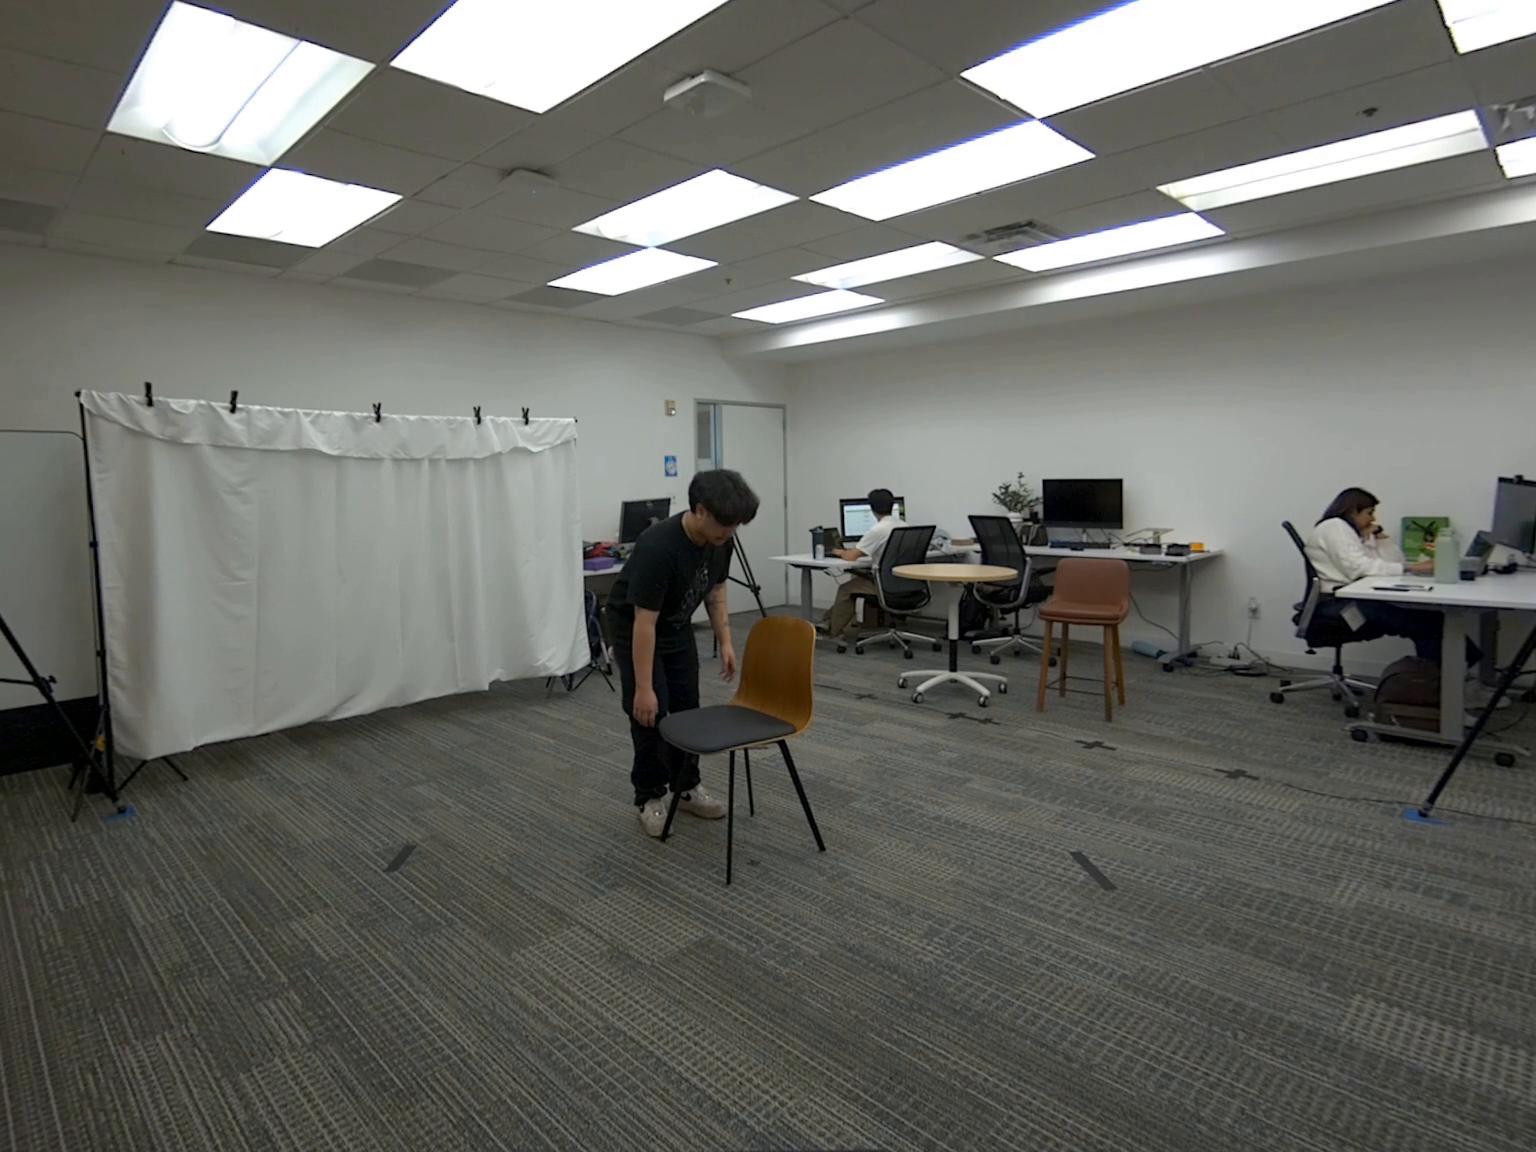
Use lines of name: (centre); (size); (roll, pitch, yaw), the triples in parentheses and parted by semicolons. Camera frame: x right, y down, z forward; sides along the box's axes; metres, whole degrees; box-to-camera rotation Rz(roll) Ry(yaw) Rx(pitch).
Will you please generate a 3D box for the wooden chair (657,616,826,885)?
wooden chair: (-0.115, 0.601, 3.200); (0.508, 0.876, 0.492); (1, 2, -38)
